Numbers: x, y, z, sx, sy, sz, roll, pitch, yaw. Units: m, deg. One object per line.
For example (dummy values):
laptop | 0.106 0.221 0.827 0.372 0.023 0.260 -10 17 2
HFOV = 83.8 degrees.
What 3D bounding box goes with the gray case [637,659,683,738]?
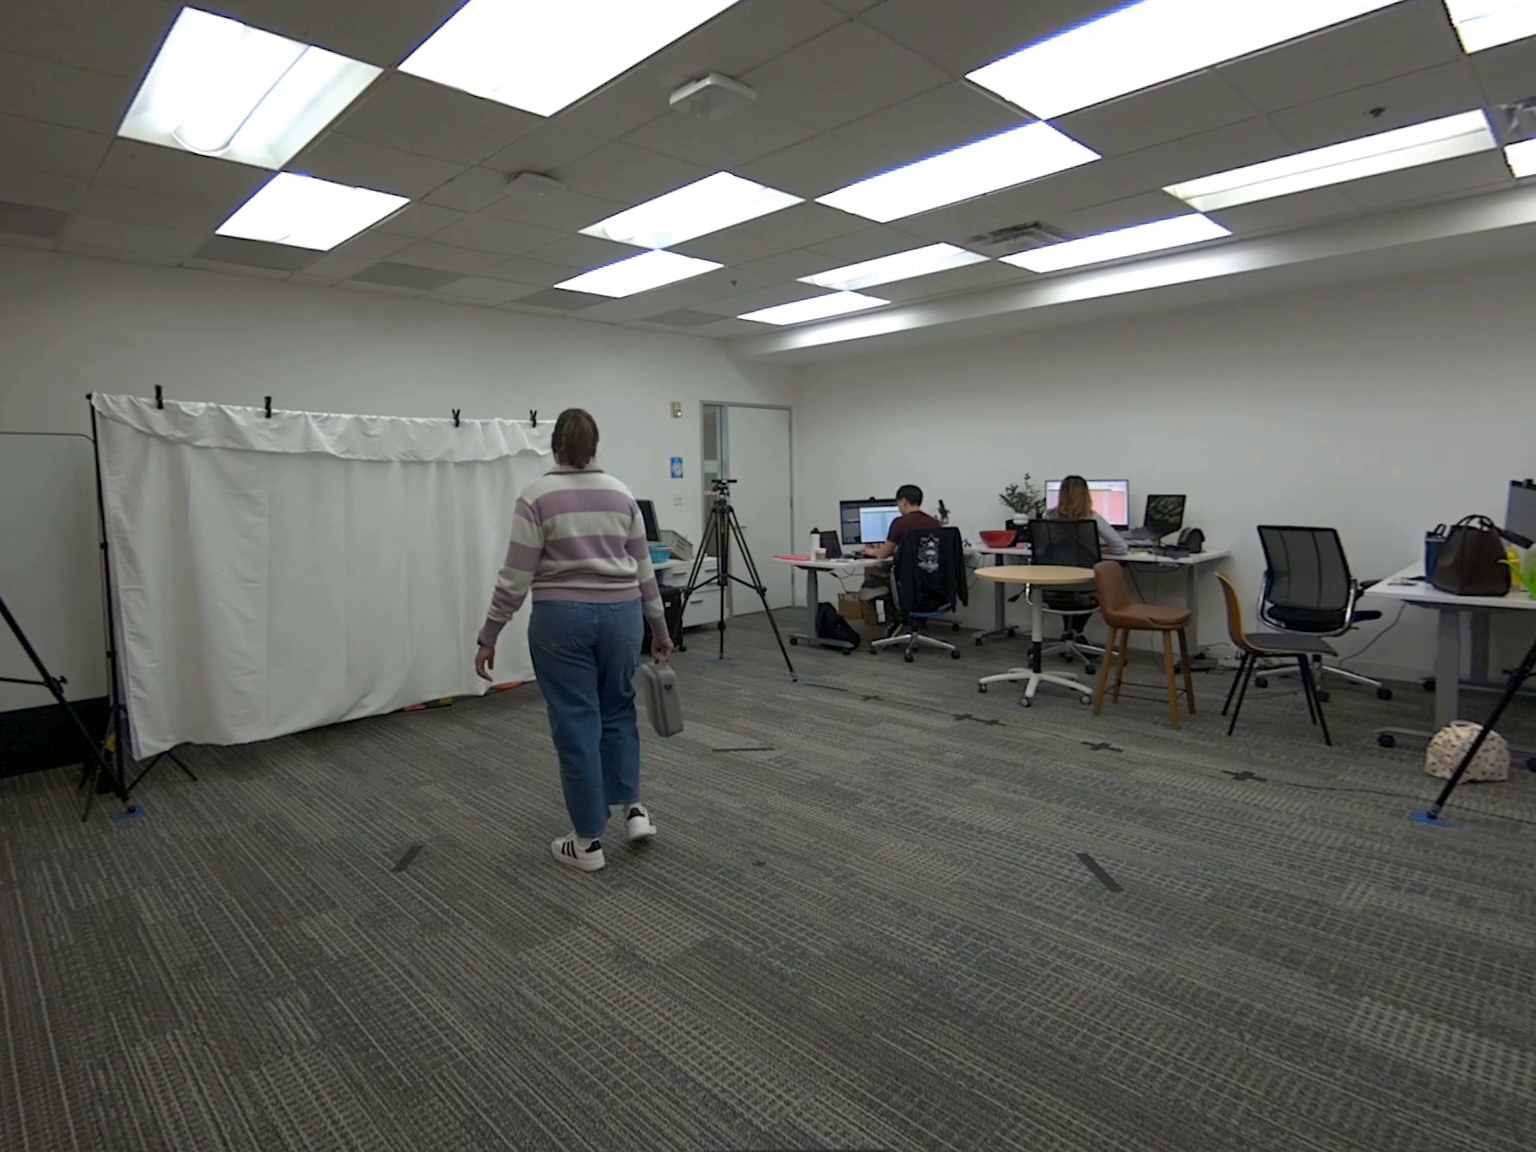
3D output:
gray case | -0.418 0.473 3.381 0.103 0.259 0.261 -6 7 -15
